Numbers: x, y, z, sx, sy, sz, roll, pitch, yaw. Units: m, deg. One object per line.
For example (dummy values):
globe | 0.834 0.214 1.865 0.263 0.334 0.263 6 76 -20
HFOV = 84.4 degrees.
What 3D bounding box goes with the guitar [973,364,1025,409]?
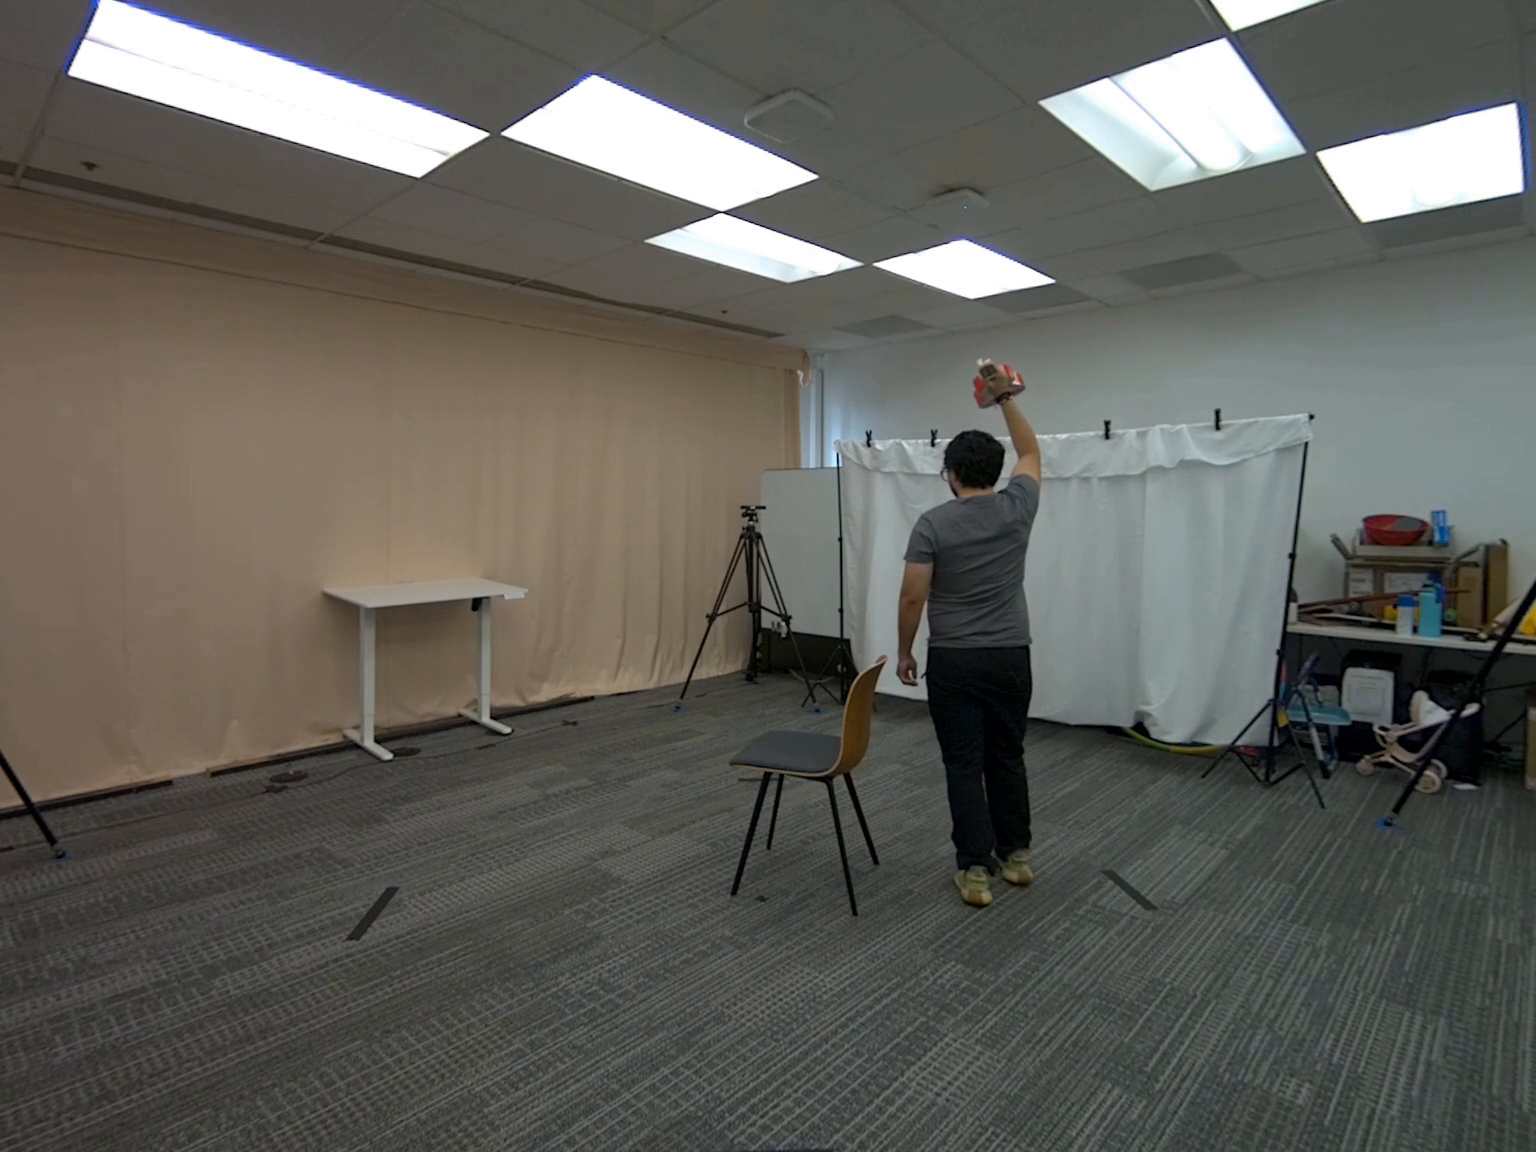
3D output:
guitar | 0.893 -0.761 3.214 0.195 0.071 0.487 -20 -12 11
